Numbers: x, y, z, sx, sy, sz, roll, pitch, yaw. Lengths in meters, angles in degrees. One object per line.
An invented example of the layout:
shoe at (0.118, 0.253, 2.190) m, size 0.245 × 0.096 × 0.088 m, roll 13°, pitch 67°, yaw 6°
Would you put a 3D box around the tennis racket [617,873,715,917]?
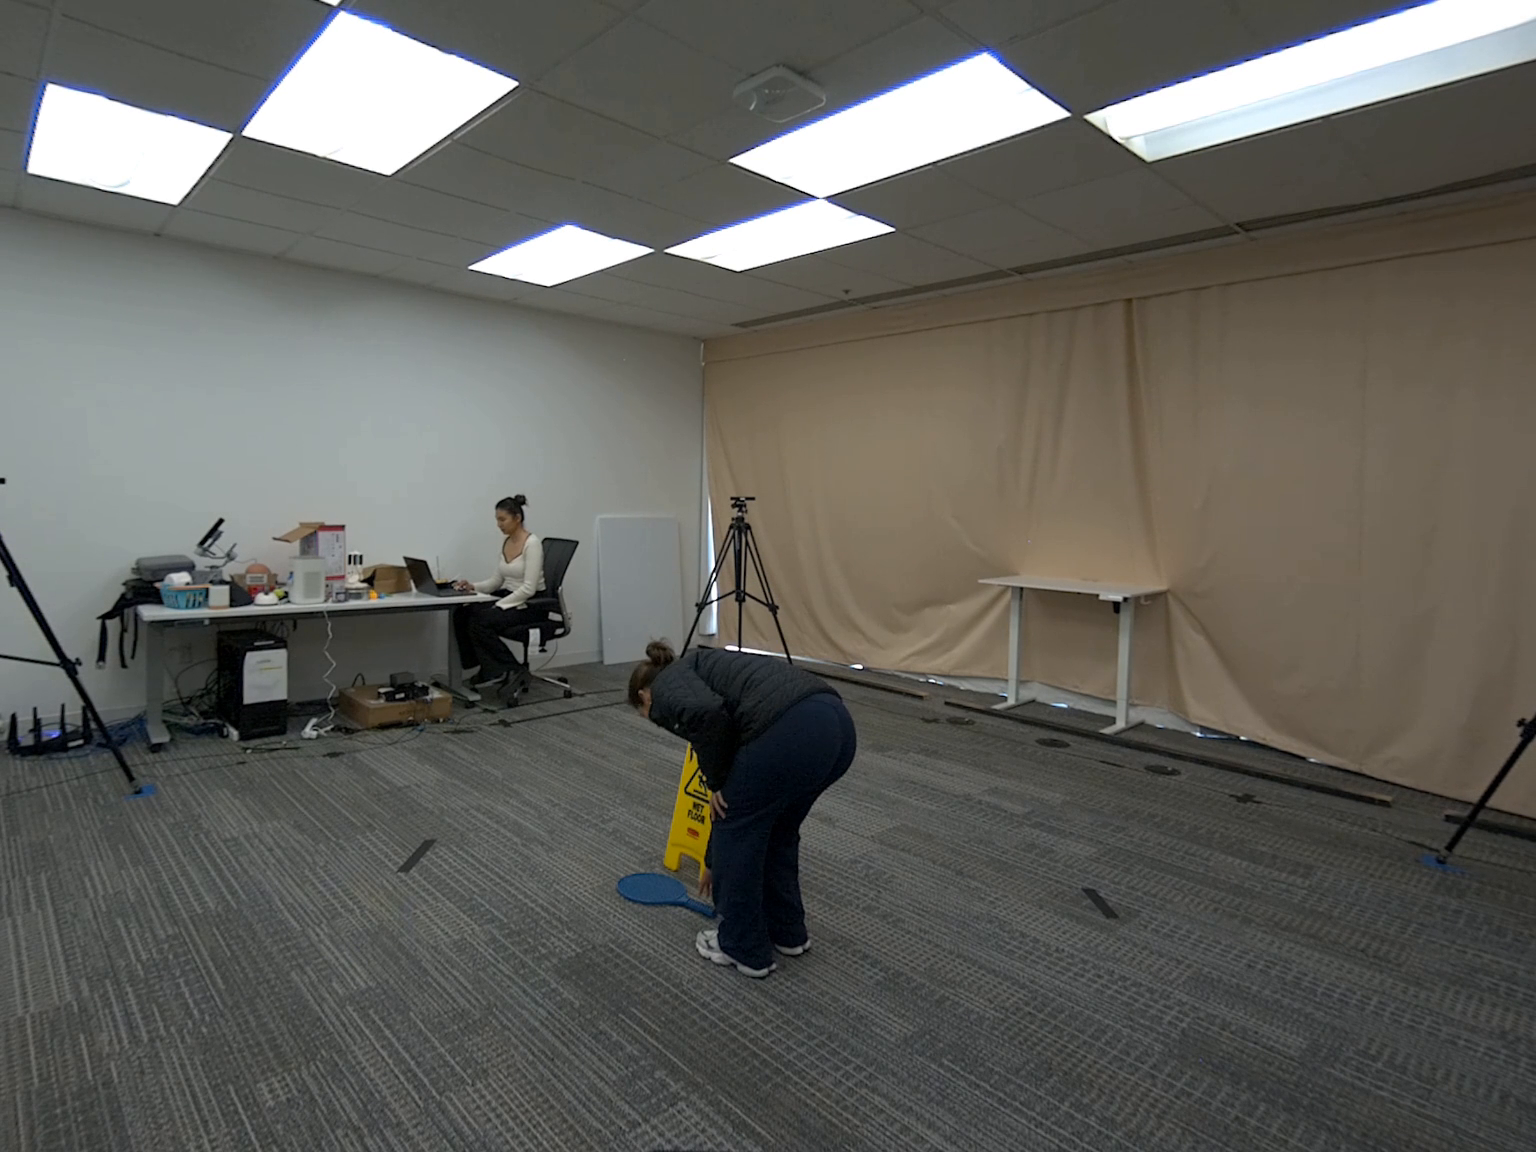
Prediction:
tennis racket at (-0.349, 1.109, 2.910) m, size 0.443 × 0.031 × 0.209 m, roll 3°, pitch 6°, yaw 35°
